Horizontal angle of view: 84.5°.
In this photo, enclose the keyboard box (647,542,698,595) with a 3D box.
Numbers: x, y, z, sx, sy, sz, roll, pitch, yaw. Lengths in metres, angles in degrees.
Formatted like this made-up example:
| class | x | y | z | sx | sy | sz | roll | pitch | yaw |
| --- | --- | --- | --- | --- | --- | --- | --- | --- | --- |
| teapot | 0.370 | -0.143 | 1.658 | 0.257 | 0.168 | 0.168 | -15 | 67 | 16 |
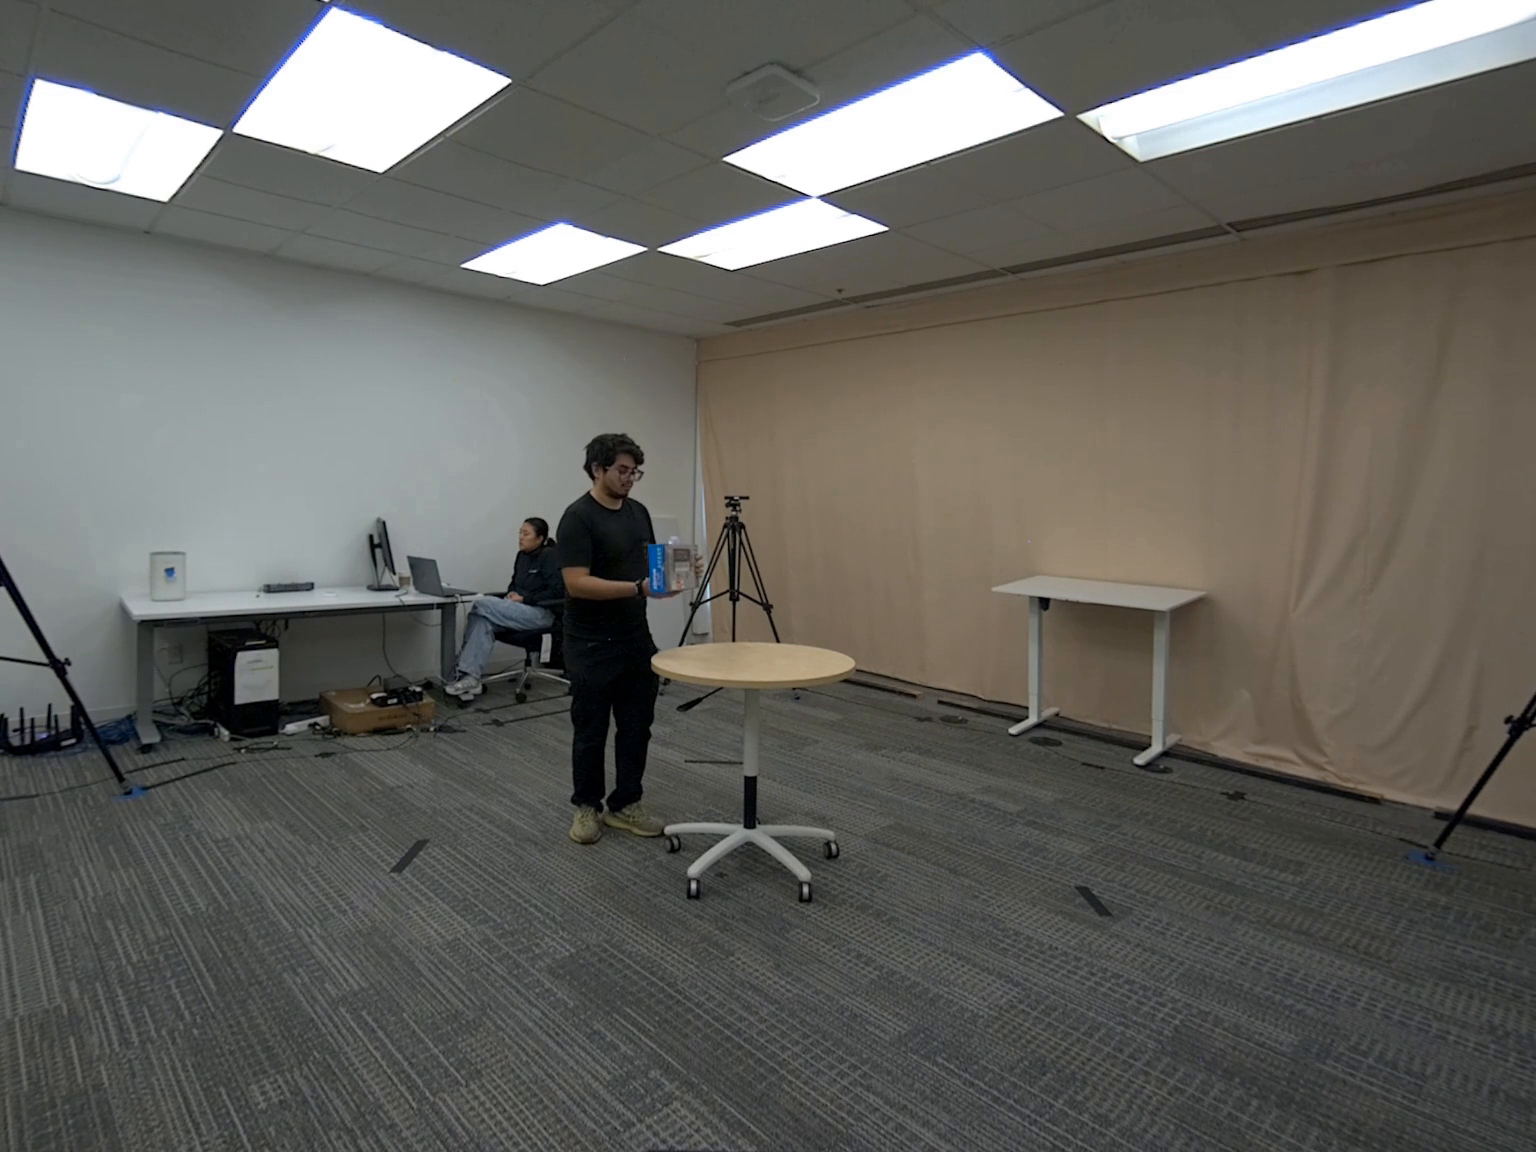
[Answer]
| class | x | y | z | sx | sy | sz | roll | pitch | yaw |
| --- | --- | --- | --- | --- | --- | --- | --- | --- | --- |
| keyboard box | -0.360 | -0.027 | 3.167 | 0.059 | 0.176 | 0.433 | -4 | 1 | 11 |
